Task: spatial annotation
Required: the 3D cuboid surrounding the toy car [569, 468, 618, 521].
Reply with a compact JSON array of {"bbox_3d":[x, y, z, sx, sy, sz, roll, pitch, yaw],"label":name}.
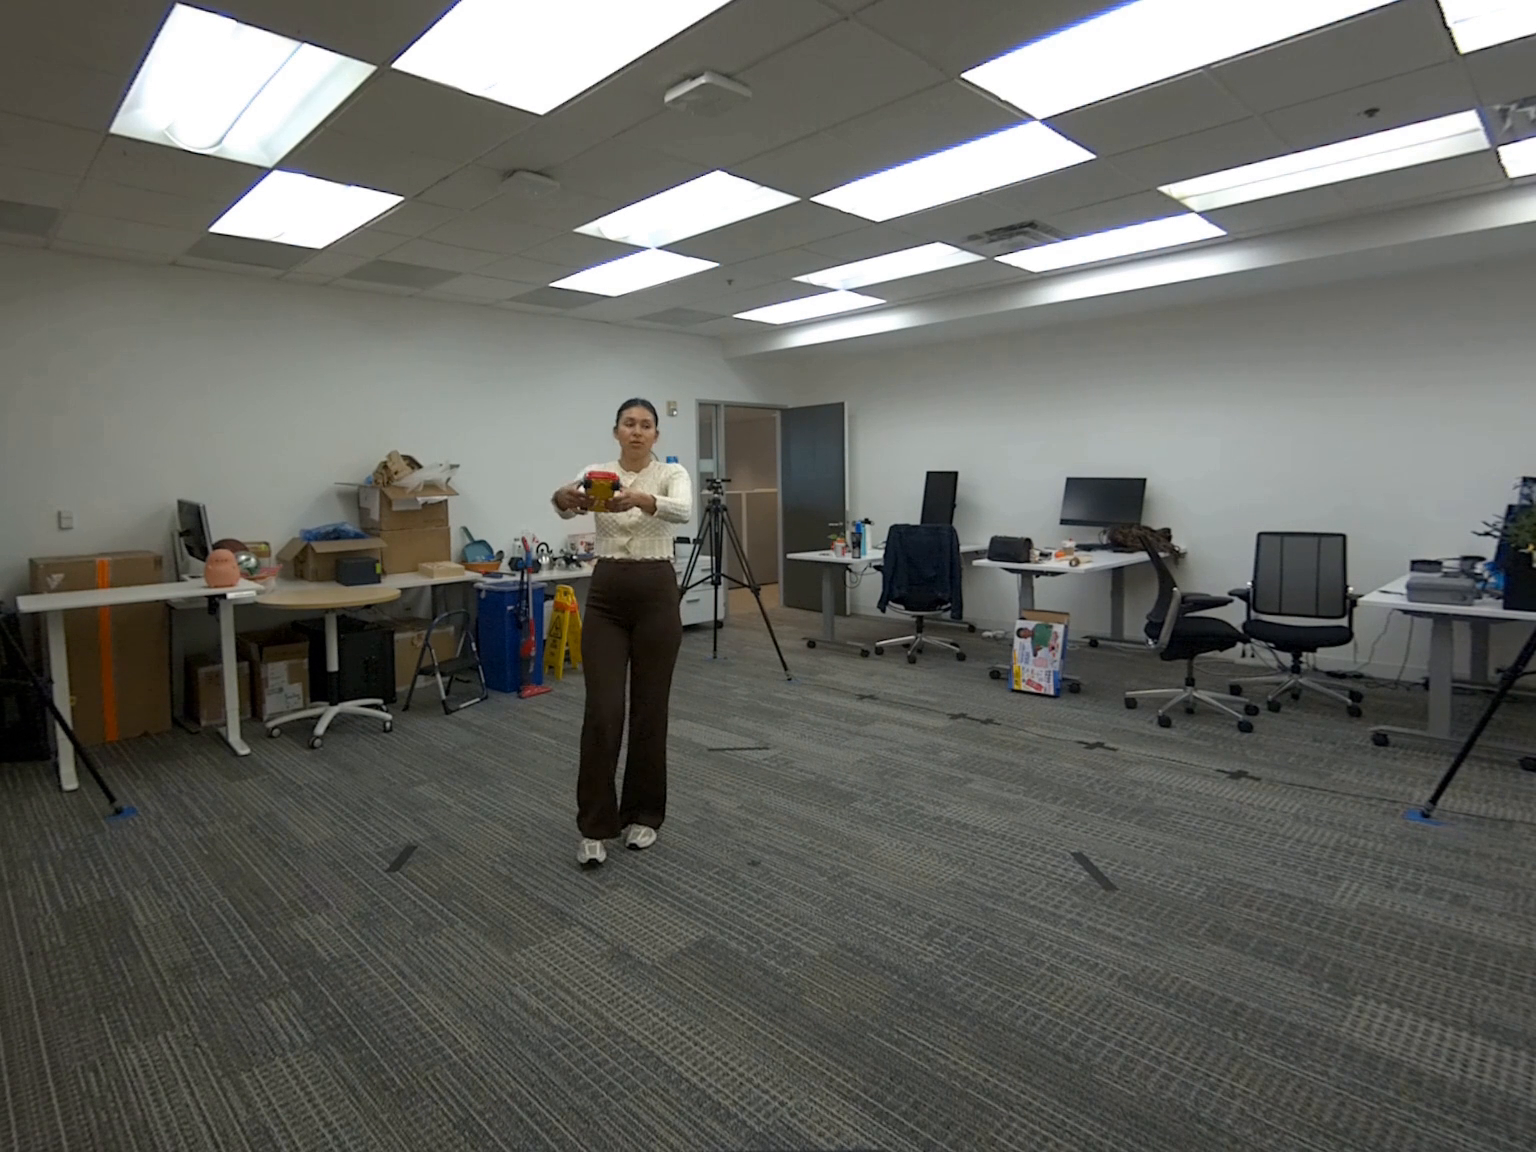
[{"bbox_3d":[-0.562,-0.260,2.742,0.128,0.084,0.254,1,-15,-15],"label":"toy car"}]
